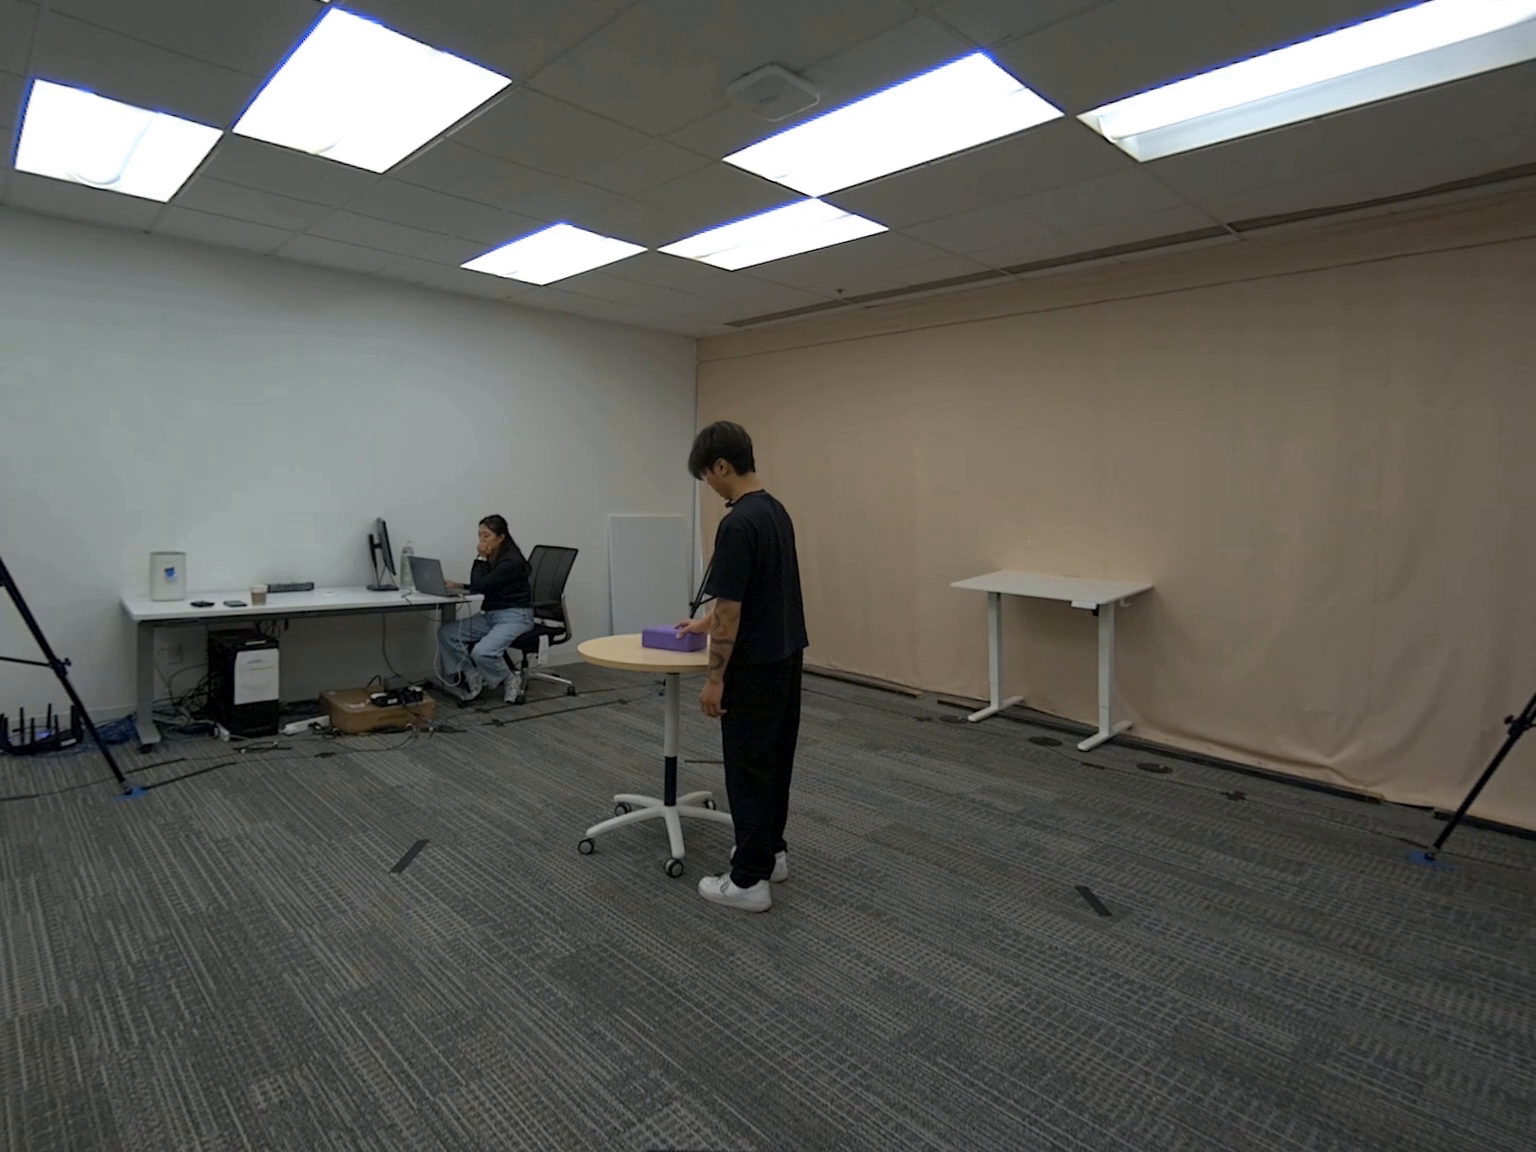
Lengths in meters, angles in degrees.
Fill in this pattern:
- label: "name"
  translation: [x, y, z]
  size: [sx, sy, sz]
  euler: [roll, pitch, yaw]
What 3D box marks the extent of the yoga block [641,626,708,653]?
- label: "yoga block"
  translation: [-0.387, 0.253, 3.396]
  size: [0.234, 0.076, 0.146]
  euler: [3, 5, 24]
